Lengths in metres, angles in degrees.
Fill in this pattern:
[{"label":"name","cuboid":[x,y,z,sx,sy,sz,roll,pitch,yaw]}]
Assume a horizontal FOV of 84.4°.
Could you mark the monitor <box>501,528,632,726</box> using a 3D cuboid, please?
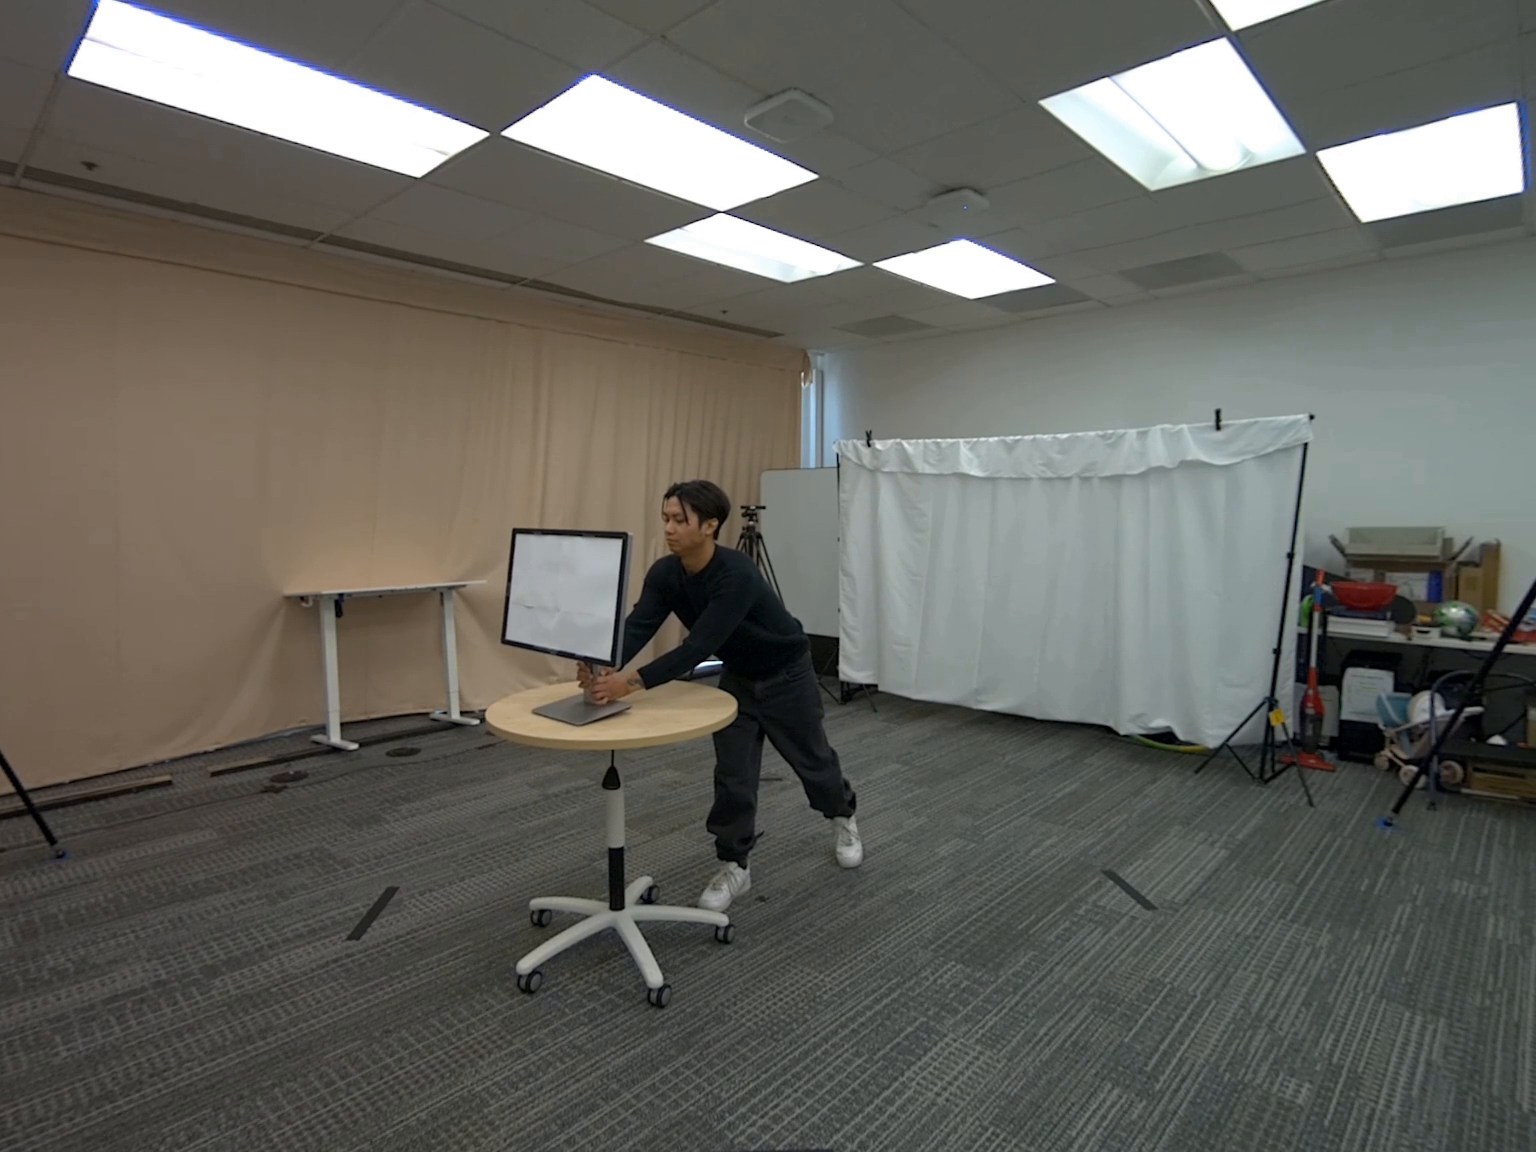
[{"label":"monitor","cuboid":[-0.568,0.137,2.468,0.557,0.520,0.182,3,8,40]}]
